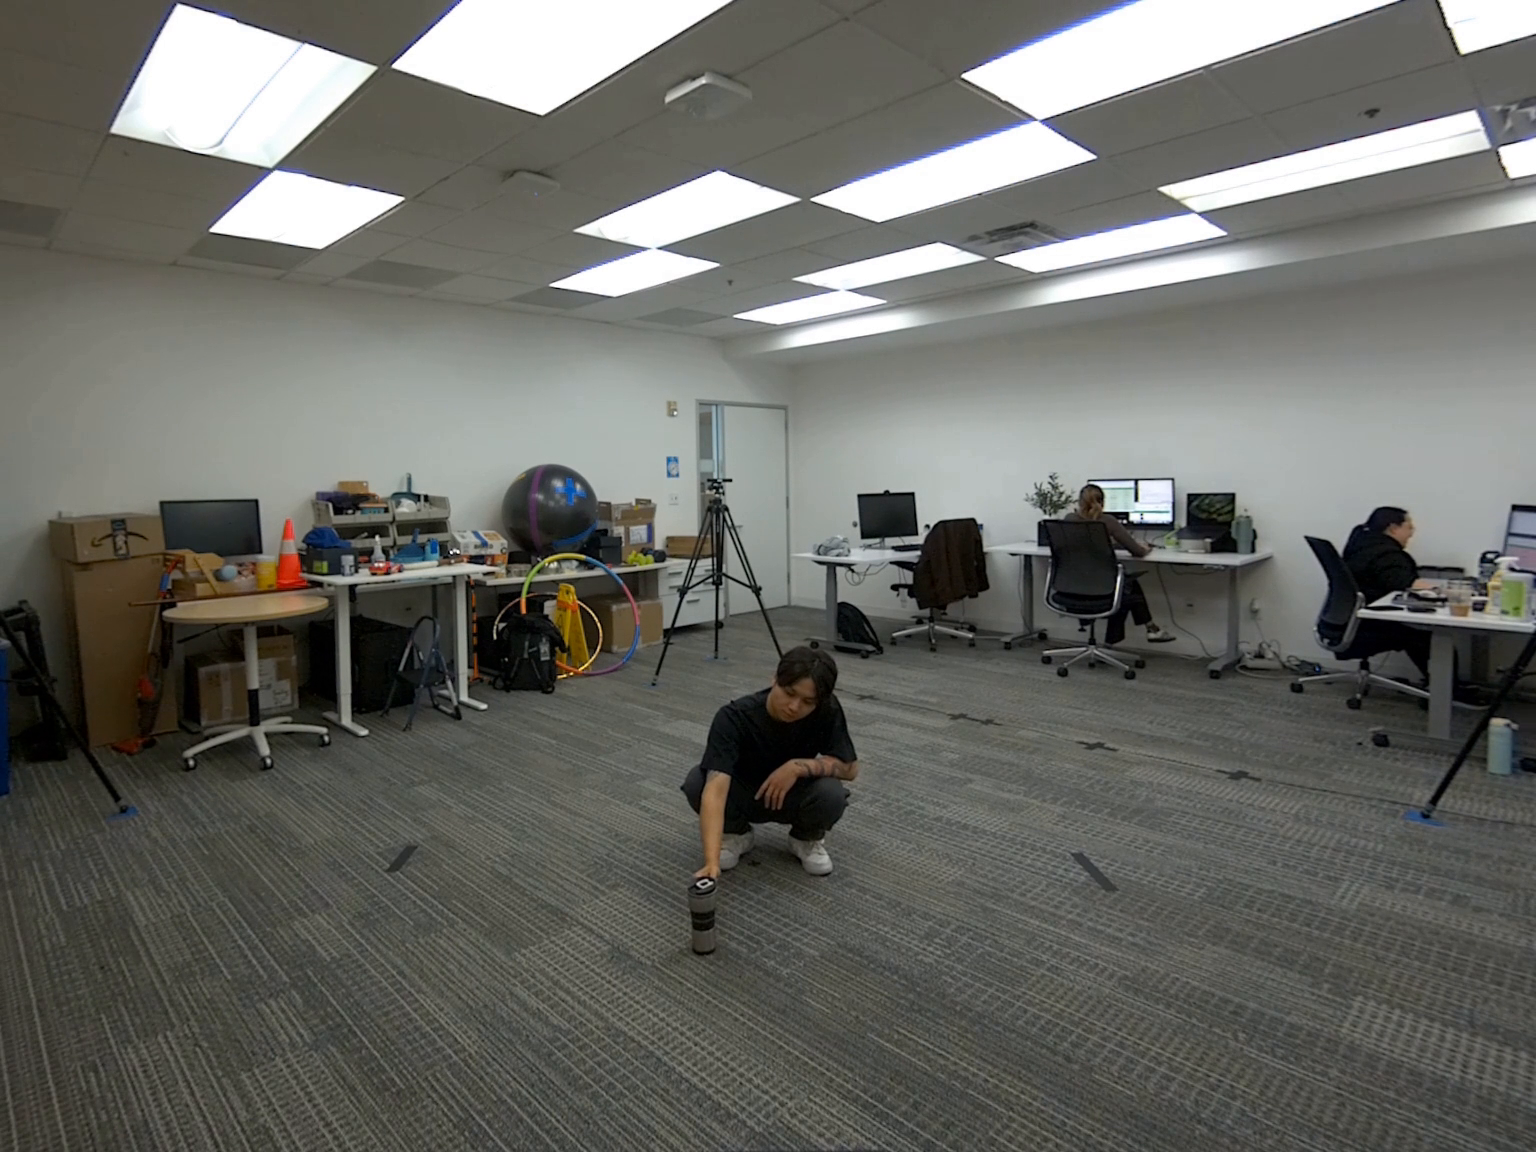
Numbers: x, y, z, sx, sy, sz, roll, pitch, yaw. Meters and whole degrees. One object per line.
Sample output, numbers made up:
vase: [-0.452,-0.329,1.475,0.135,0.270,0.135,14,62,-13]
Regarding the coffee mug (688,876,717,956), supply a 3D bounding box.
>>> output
coffee mug: [-0.176,1.013,2.547,0.119,0.202,0.090,-13,7,-42]
